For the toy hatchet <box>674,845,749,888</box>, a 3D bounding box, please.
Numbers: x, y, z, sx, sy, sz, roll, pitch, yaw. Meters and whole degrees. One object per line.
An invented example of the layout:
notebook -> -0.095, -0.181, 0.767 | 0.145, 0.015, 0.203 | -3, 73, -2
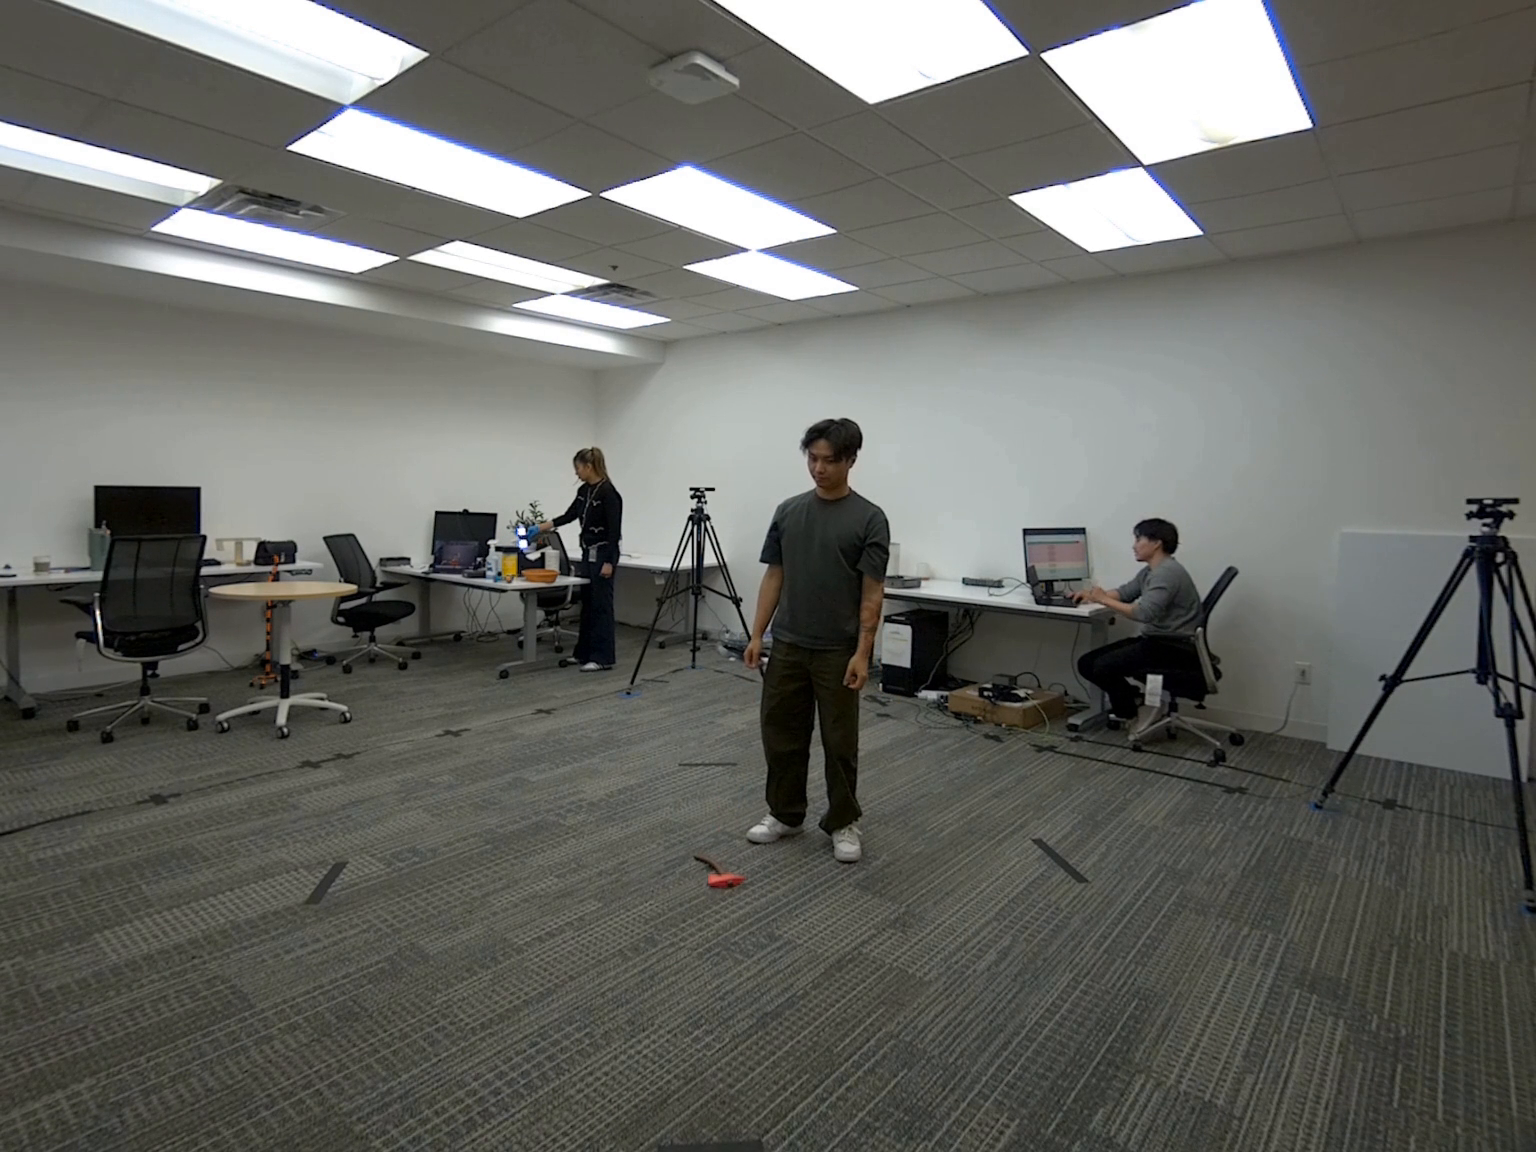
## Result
toy hatchet -> -0.211, 1.052, 3.063 | 0.127, 0.029, 0.279 | -8, 7, -40
